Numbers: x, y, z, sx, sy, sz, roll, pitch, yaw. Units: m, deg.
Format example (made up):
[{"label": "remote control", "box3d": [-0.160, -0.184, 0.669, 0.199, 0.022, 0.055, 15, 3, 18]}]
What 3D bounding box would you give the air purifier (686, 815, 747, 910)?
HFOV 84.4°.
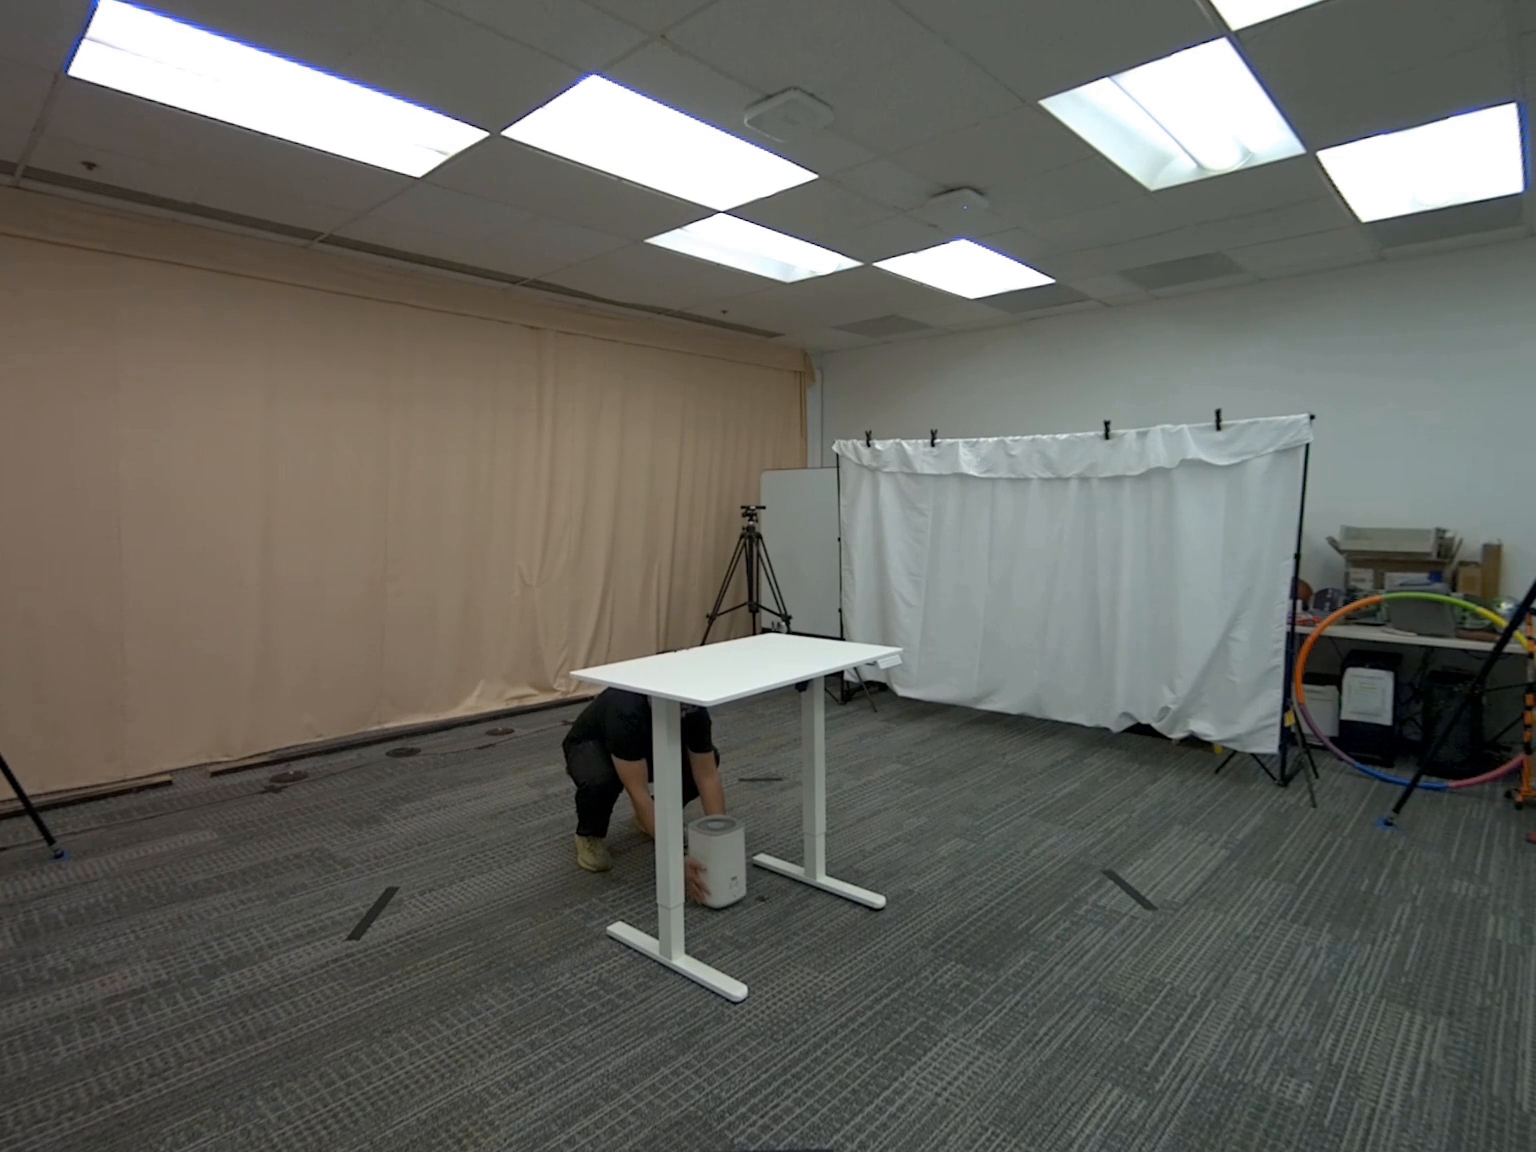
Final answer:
[{"label": "air purifier", "box3d": [-0.174, 1.002, 2.968, 0.177, 0.265, 0.166, 0, 3, 44]}]
